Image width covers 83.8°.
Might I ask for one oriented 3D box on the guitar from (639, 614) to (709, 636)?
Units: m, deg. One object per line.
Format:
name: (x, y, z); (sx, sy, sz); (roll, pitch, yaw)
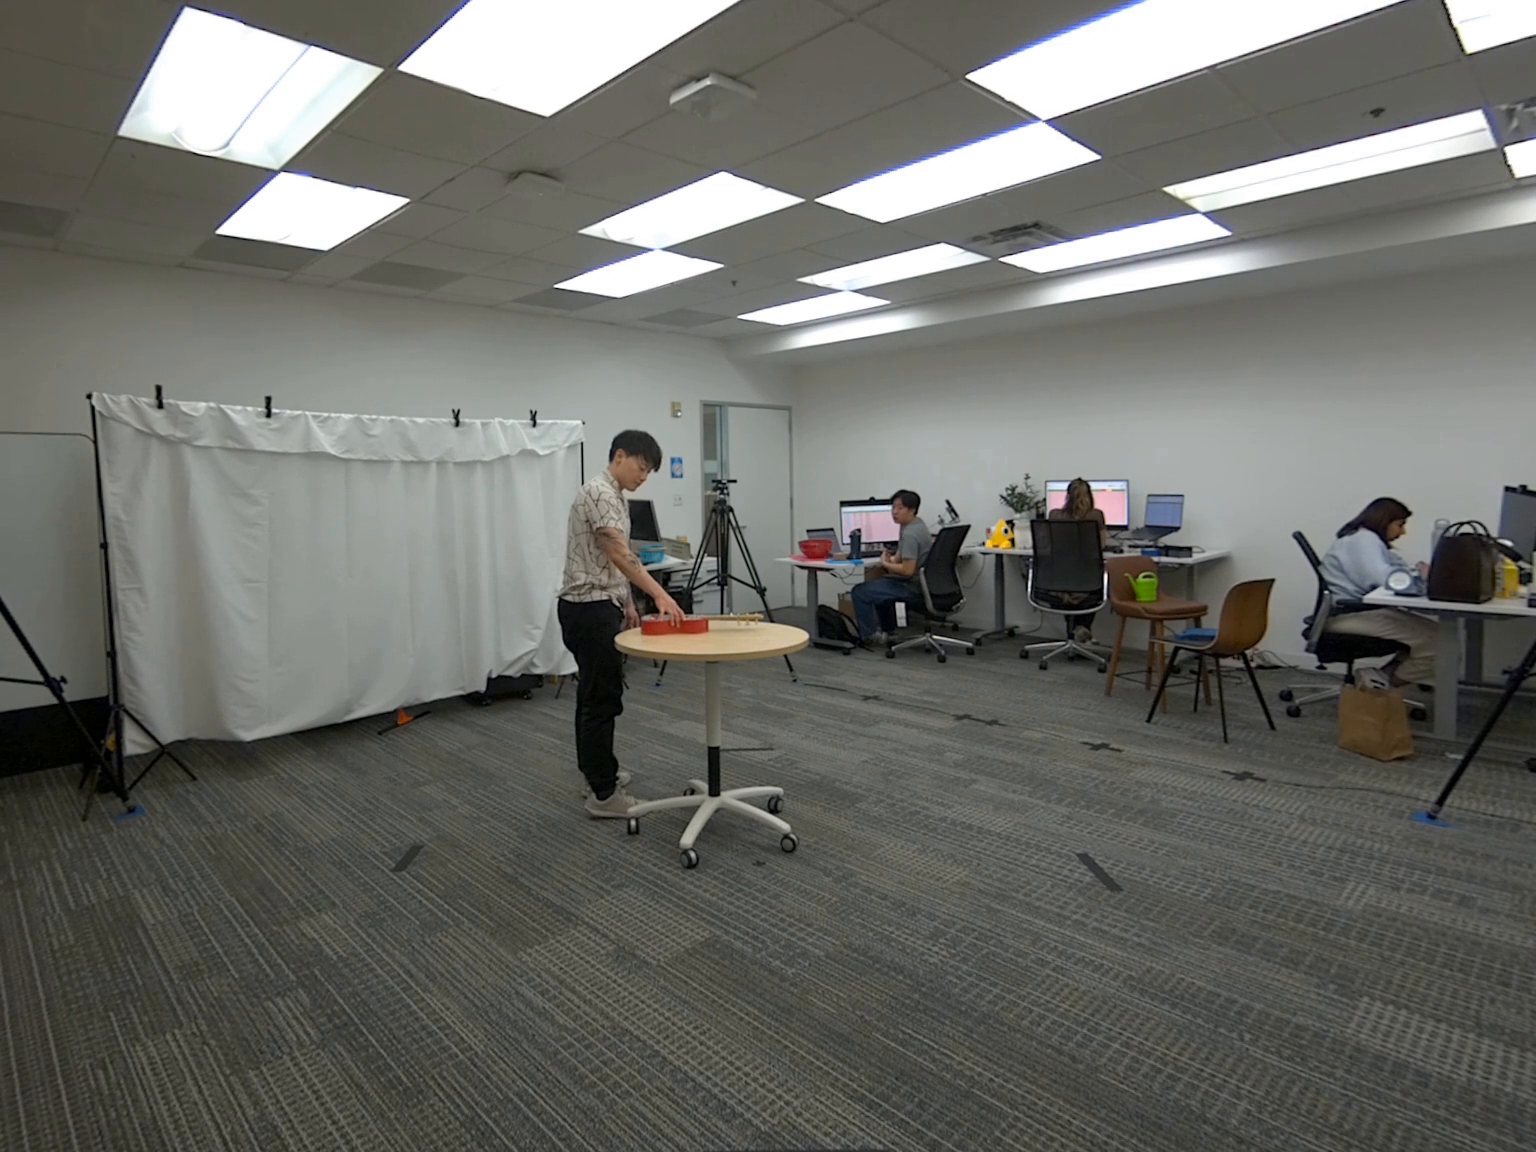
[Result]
guitar: (-0.274, 0.191, 3.465); (0.501, 0.070, 0.192); (-2, 5, 7)
